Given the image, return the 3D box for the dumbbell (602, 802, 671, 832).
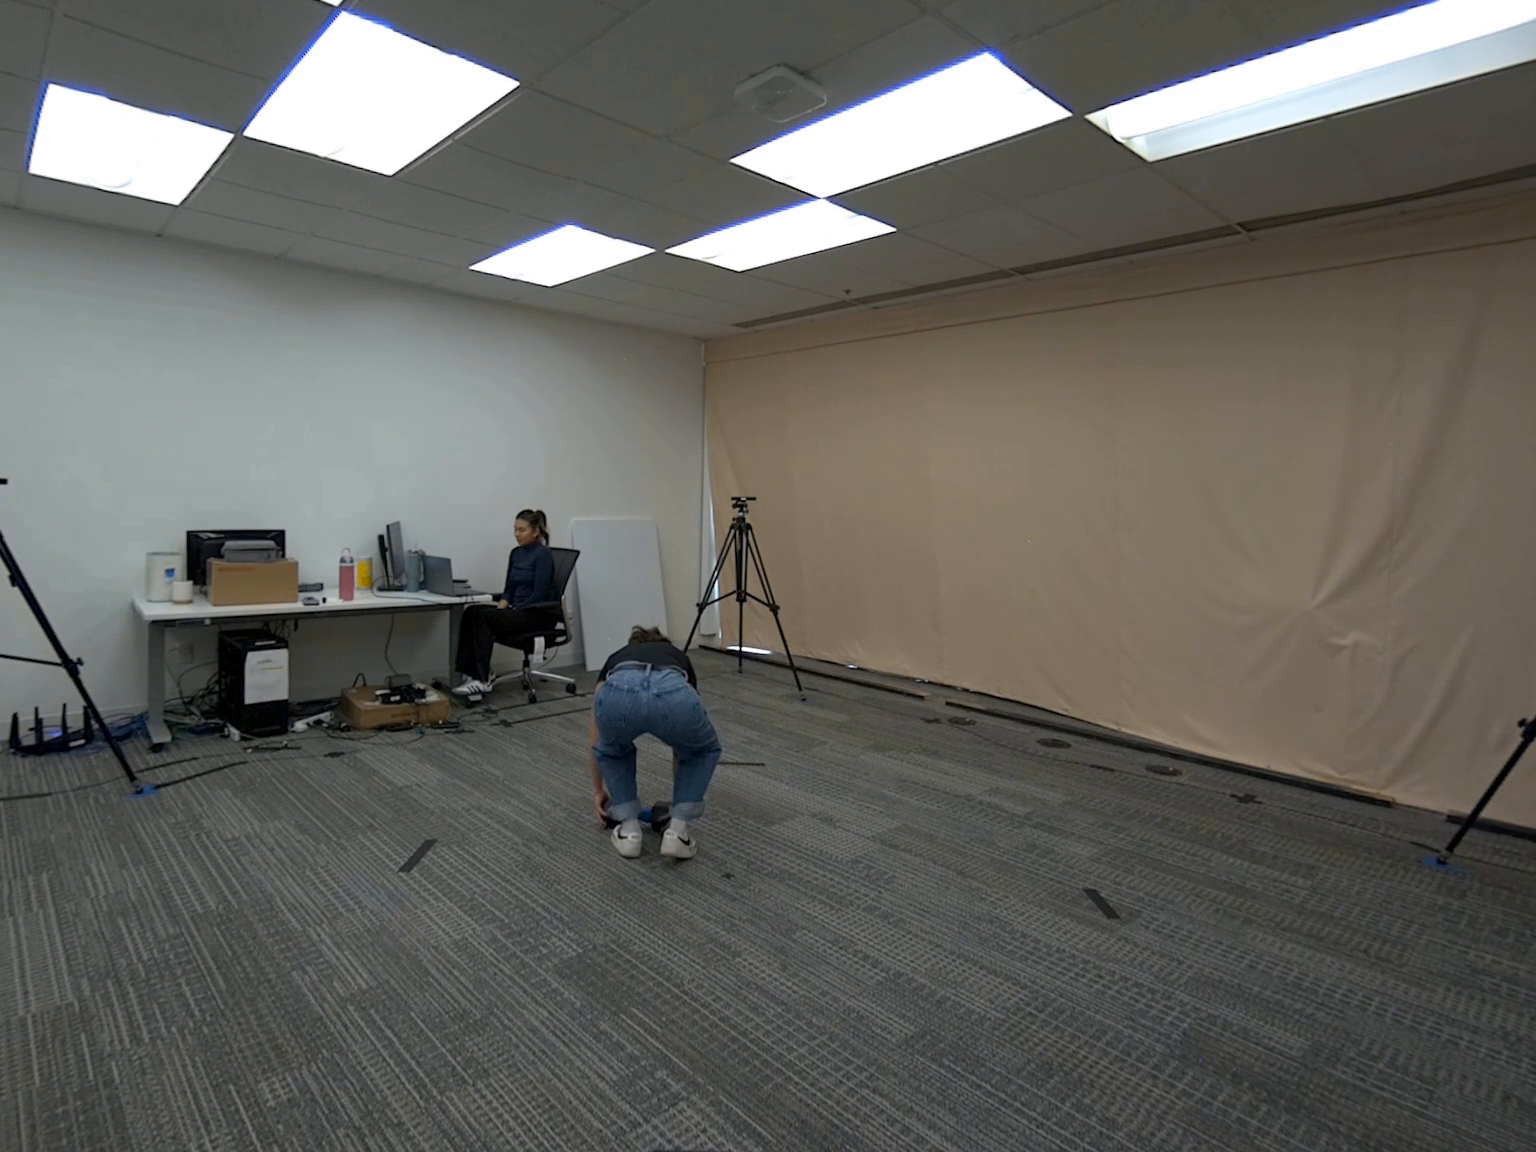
[{"bbox_3d":[-0.555,1.005,3.527,0.295,0.125,0.106,4,-26,6],"label":"dumbbell"}]
